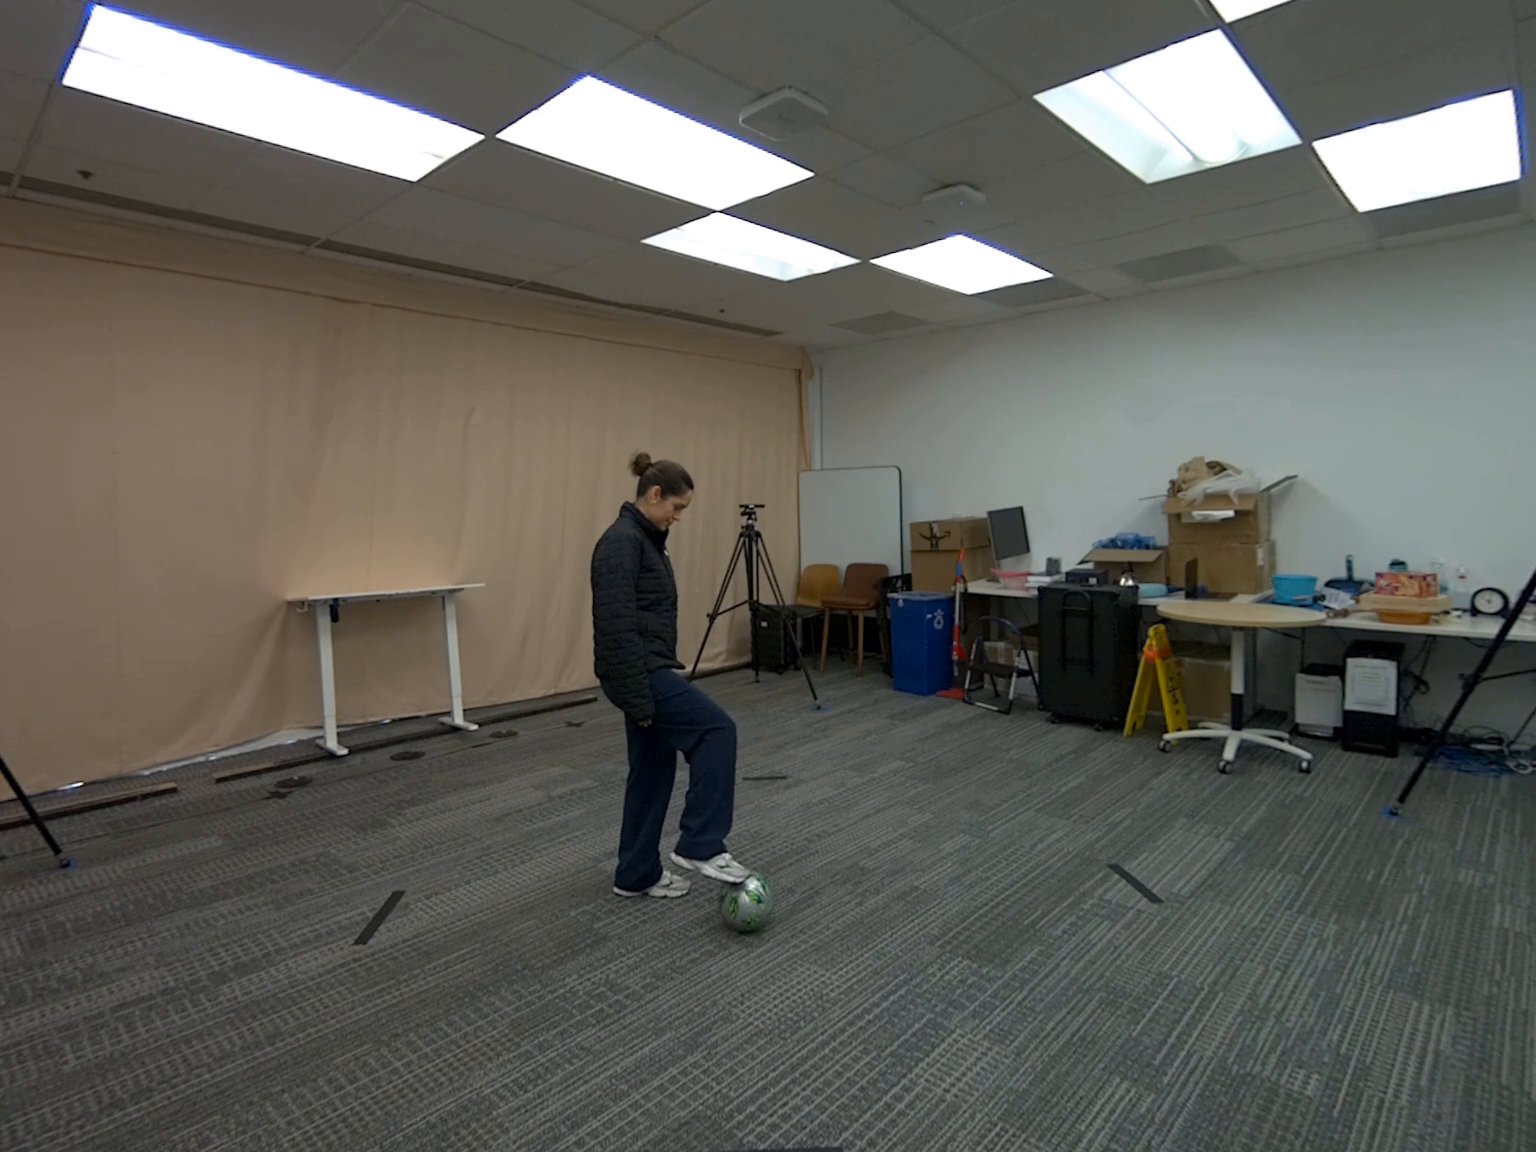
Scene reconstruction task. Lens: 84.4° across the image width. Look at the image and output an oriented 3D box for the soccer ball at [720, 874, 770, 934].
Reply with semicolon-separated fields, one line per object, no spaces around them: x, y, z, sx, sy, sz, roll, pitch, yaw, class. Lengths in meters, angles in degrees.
-0.061;1.064;2.775;0.187;0.187;0.188;-1;4;-2;soccer ball
